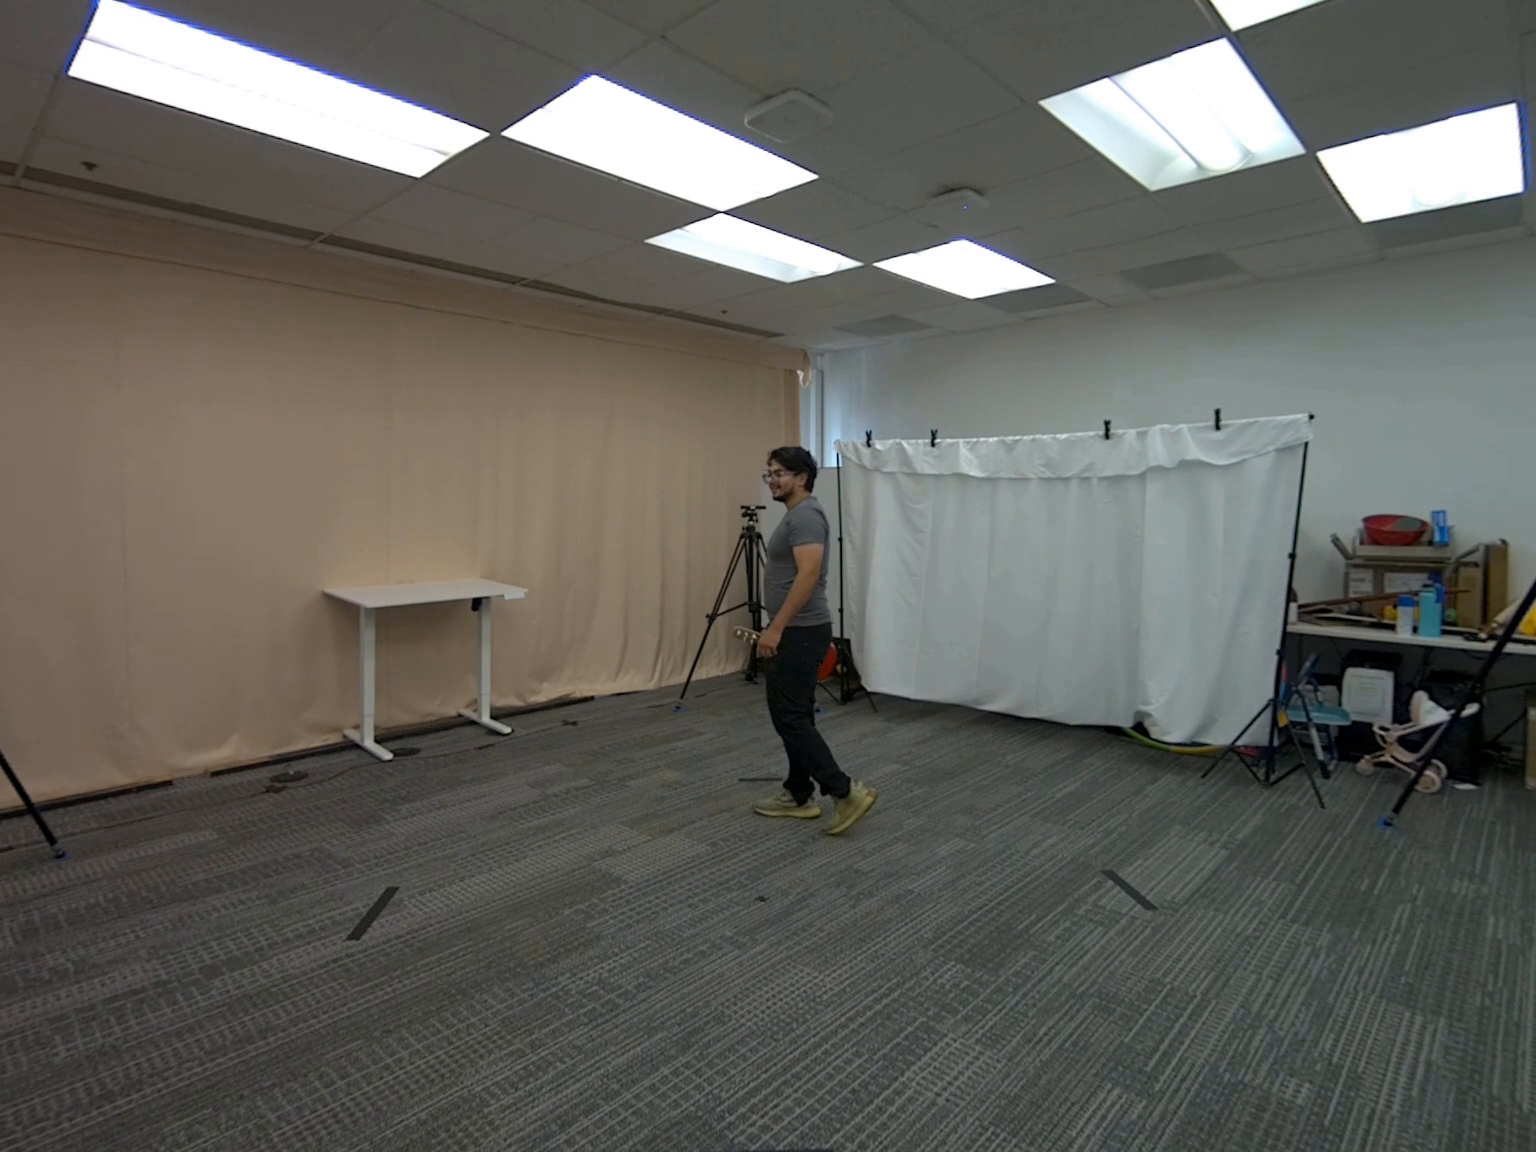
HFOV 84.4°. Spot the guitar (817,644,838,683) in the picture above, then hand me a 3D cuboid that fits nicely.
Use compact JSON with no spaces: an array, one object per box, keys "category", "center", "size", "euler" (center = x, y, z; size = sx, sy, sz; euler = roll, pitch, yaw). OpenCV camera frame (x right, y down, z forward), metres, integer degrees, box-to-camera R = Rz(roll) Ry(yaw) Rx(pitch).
[{"category":"guitar","center":[0.075,0.365,3.987],"size":[0.495,0.191,0.071],"euler":[9,19,-5]}]
